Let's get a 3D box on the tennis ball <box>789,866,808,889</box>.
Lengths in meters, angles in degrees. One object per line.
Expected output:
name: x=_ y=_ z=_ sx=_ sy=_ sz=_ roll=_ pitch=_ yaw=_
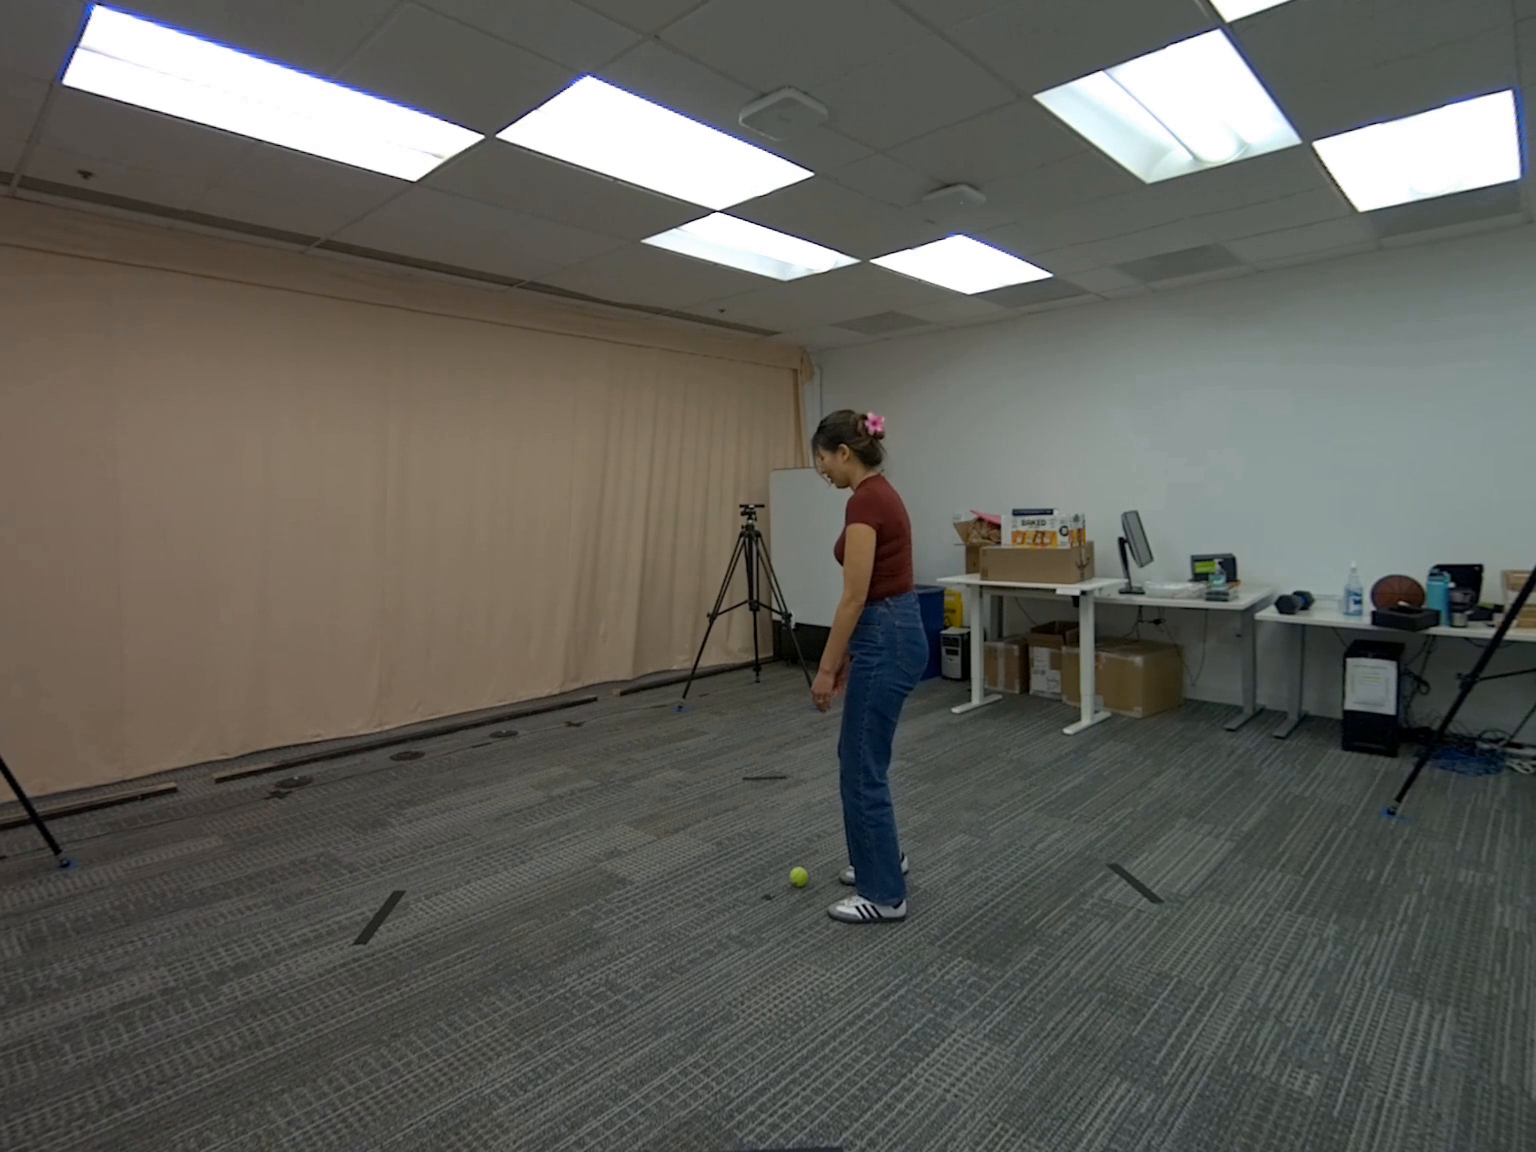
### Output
tennis ball: x=0.109 y=1.082 z=3.070 sx=0.066 sy=0.066 sz=0.067 roll=-1 pitch=4 yaw=-2
